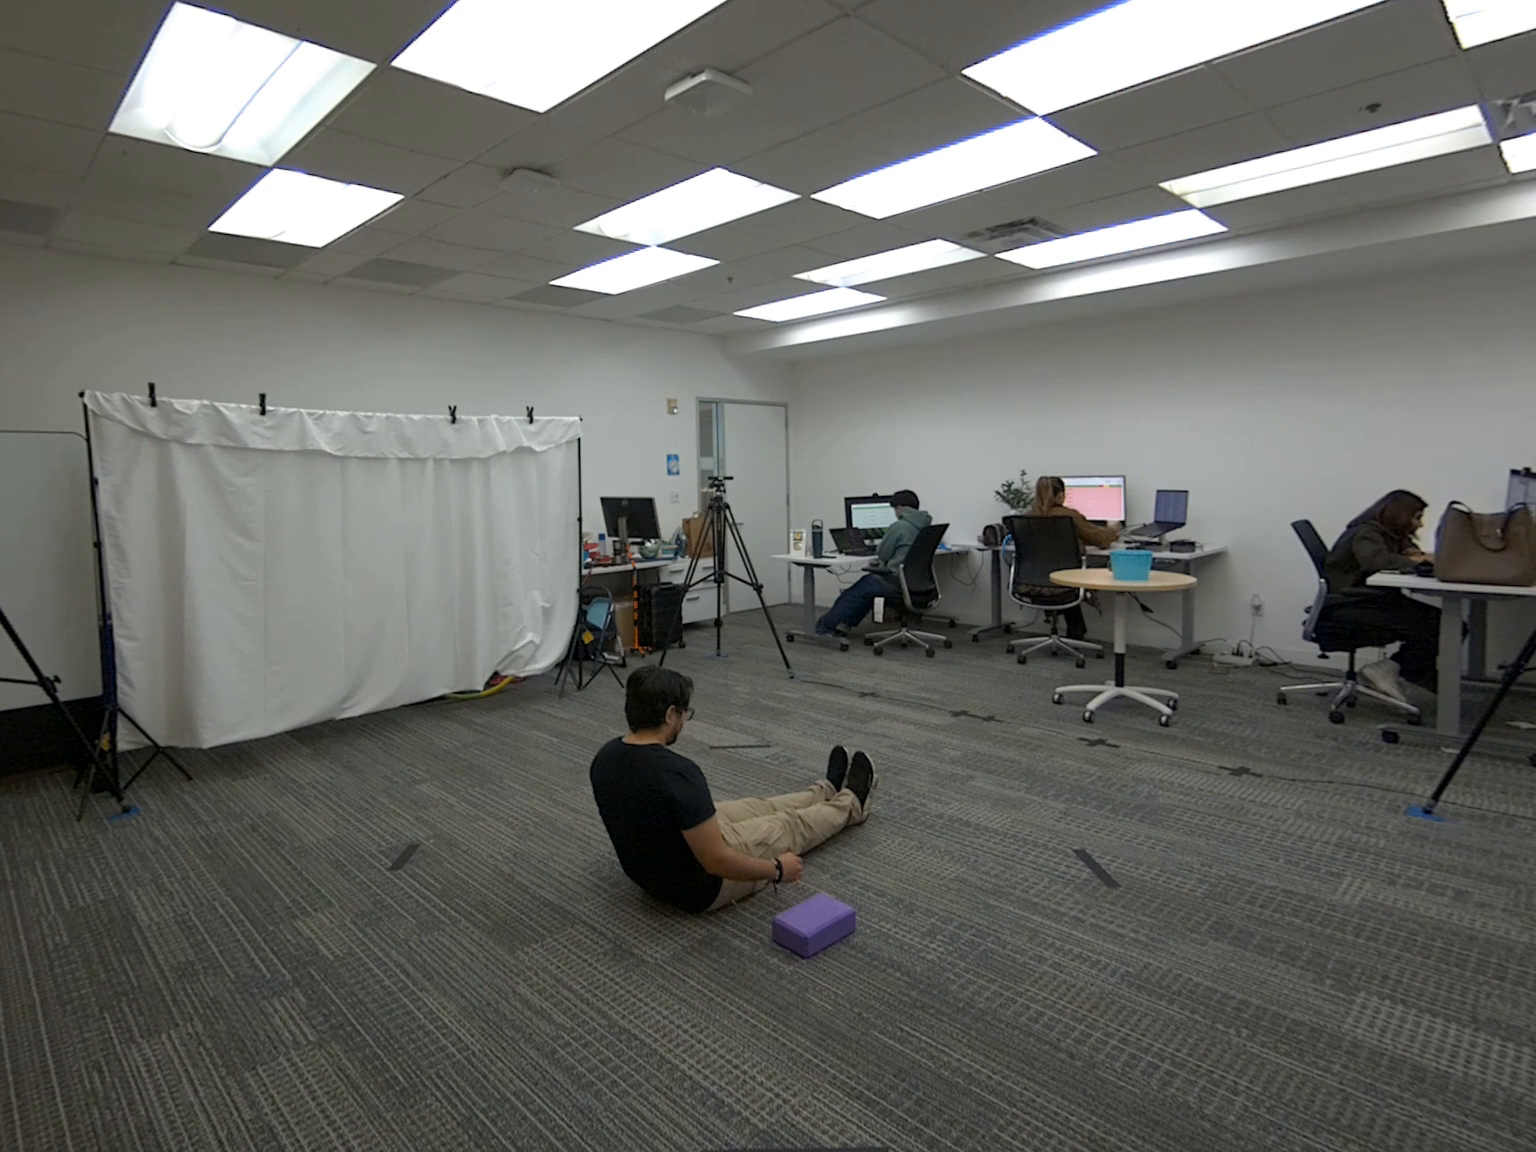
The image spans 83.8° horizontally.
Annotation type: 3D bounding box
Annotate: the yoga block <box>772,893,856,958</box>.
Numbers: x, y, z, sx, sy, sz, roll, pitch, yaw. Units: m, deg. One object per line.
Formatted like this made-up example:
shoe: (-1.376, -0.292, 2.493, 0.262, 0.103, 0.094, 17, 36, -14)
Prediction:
yoga block: (0.140, 1.051, 2.588, 0.223, 0.076, 0.154, -5, 8, -43)
